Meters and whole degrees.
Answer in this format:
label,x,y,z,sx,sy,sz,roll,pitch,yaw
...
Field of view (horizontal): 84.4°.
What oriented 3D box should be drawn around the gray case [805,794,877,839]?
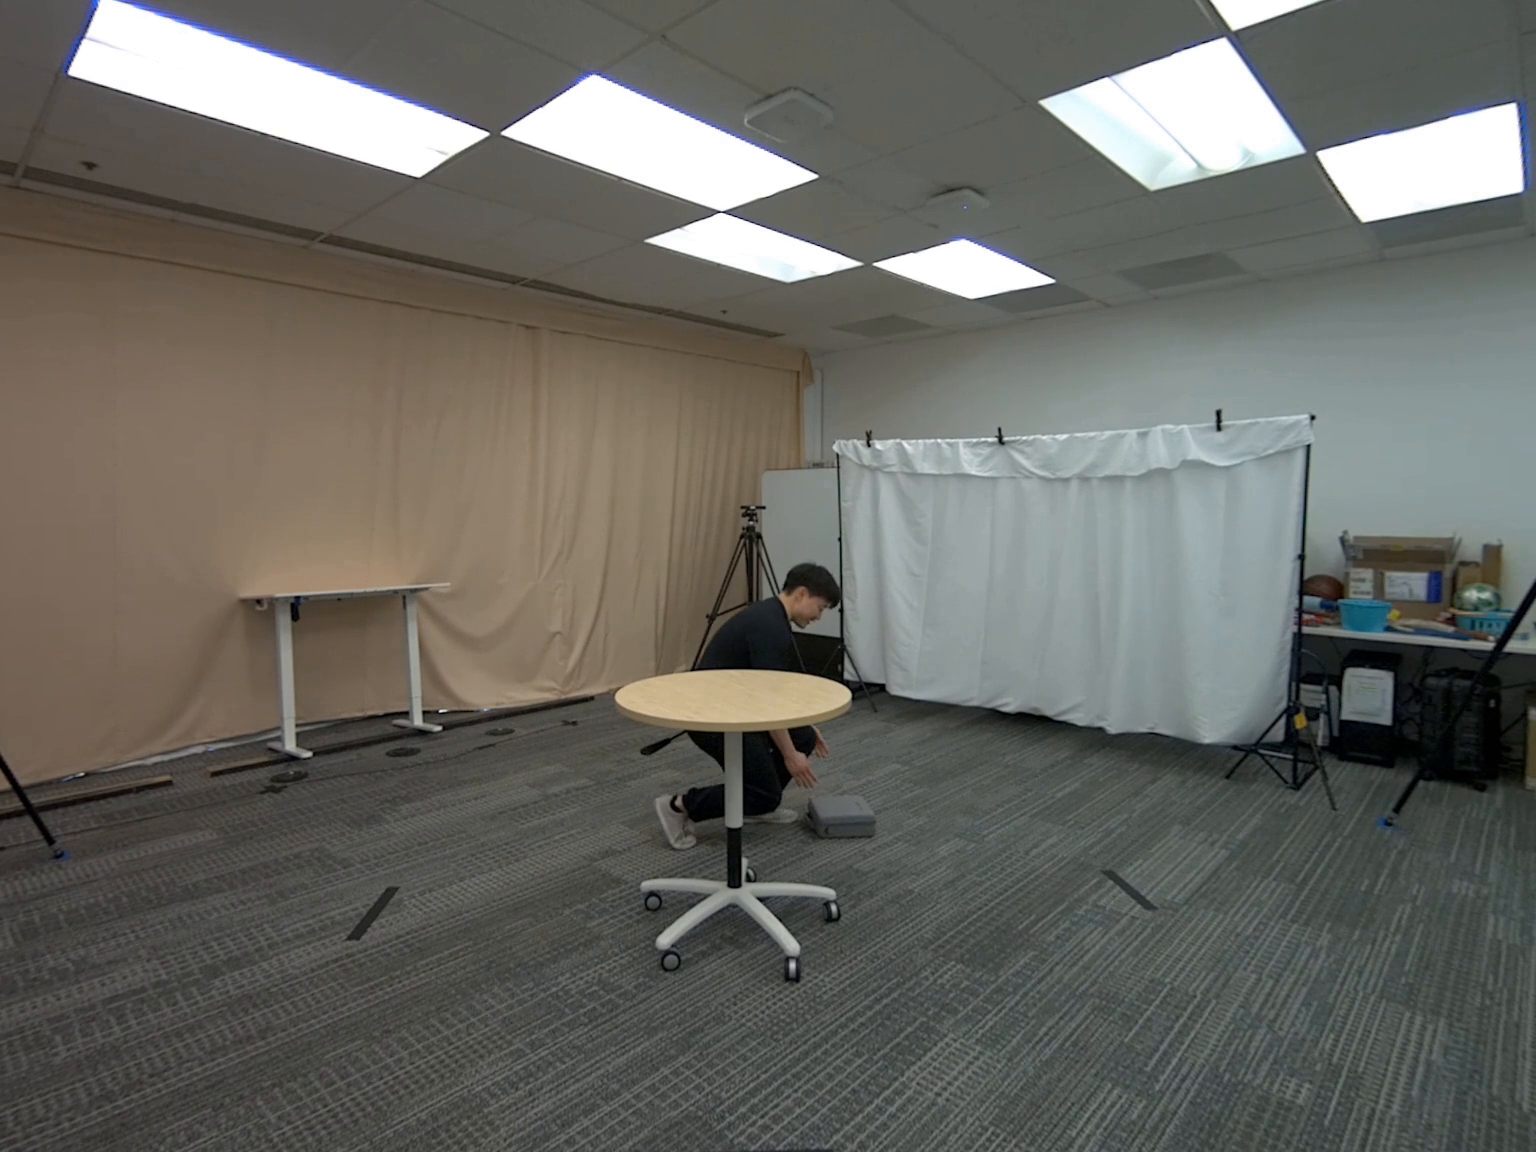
label,x,y,z,sx,sy,sz,roll,pitch,yaw
gray case,0.320,1.033,3.637,0.259,0.104,0.259,0,4,-7
